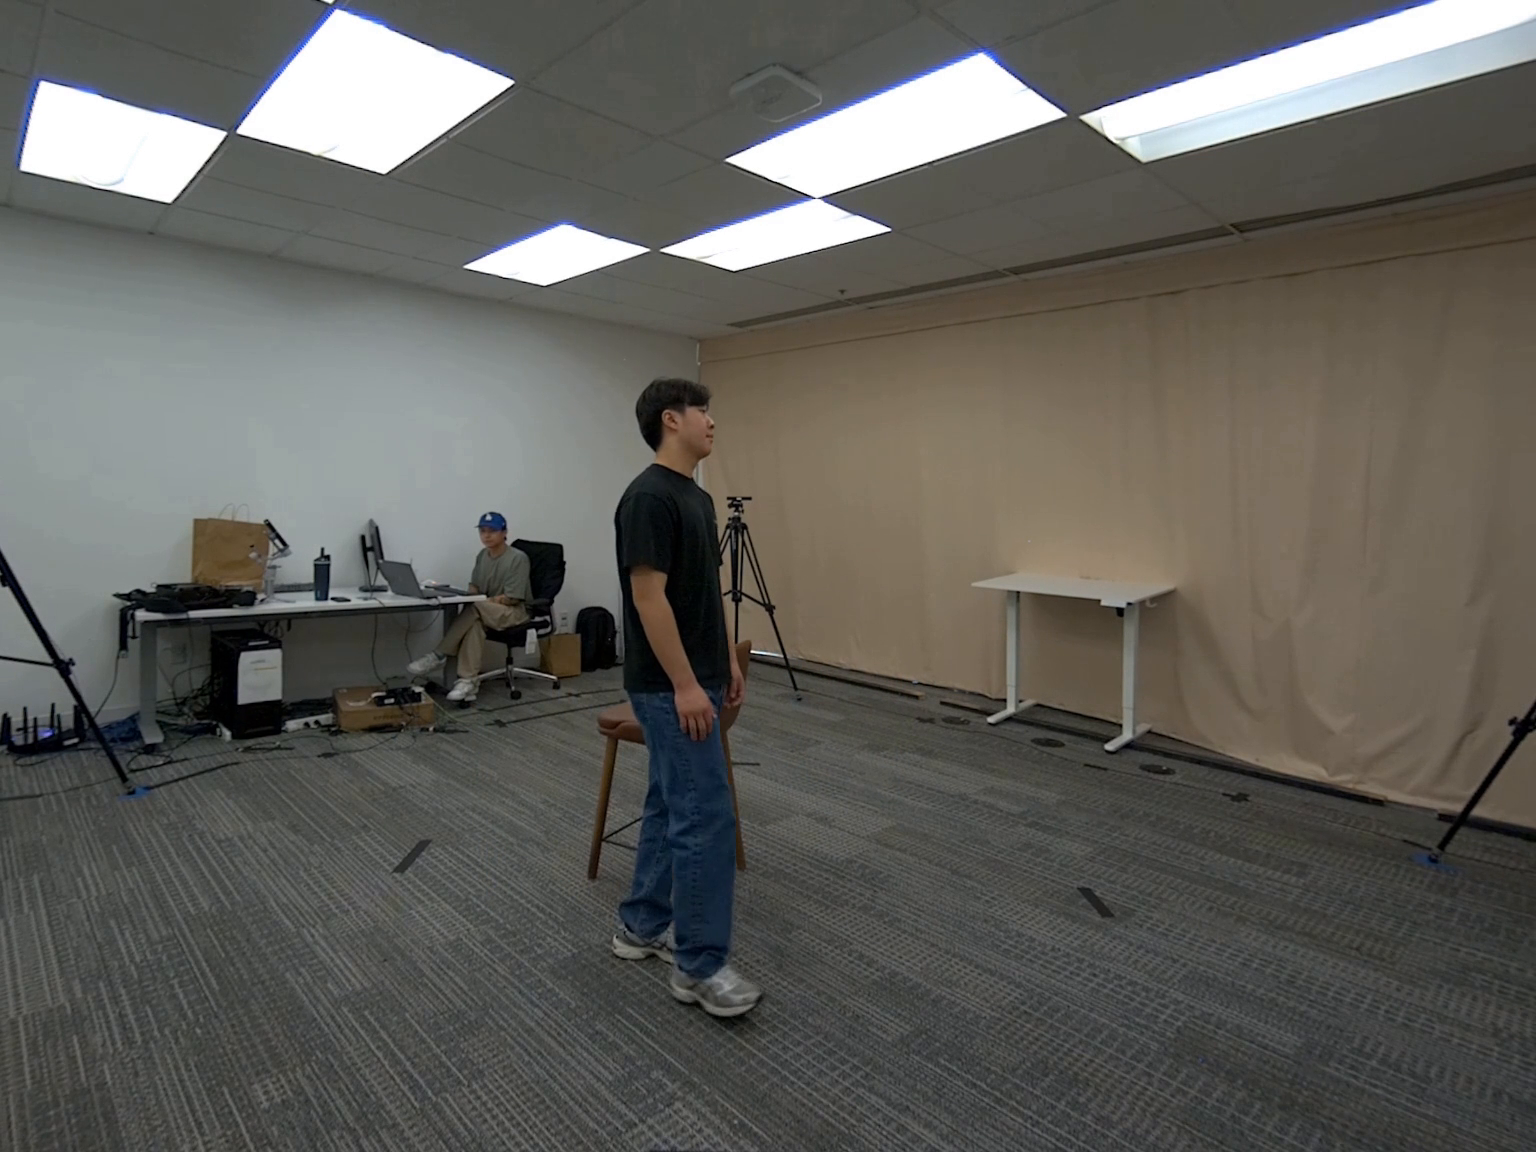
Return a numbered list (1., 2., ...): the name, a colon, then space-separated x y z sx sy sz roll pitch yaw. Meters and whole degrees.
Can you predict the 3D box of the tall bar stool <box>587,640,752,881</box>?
1. tall bar stool: -0.354 0.673 3.088 0.478 0.887 0.448 5 5 28
